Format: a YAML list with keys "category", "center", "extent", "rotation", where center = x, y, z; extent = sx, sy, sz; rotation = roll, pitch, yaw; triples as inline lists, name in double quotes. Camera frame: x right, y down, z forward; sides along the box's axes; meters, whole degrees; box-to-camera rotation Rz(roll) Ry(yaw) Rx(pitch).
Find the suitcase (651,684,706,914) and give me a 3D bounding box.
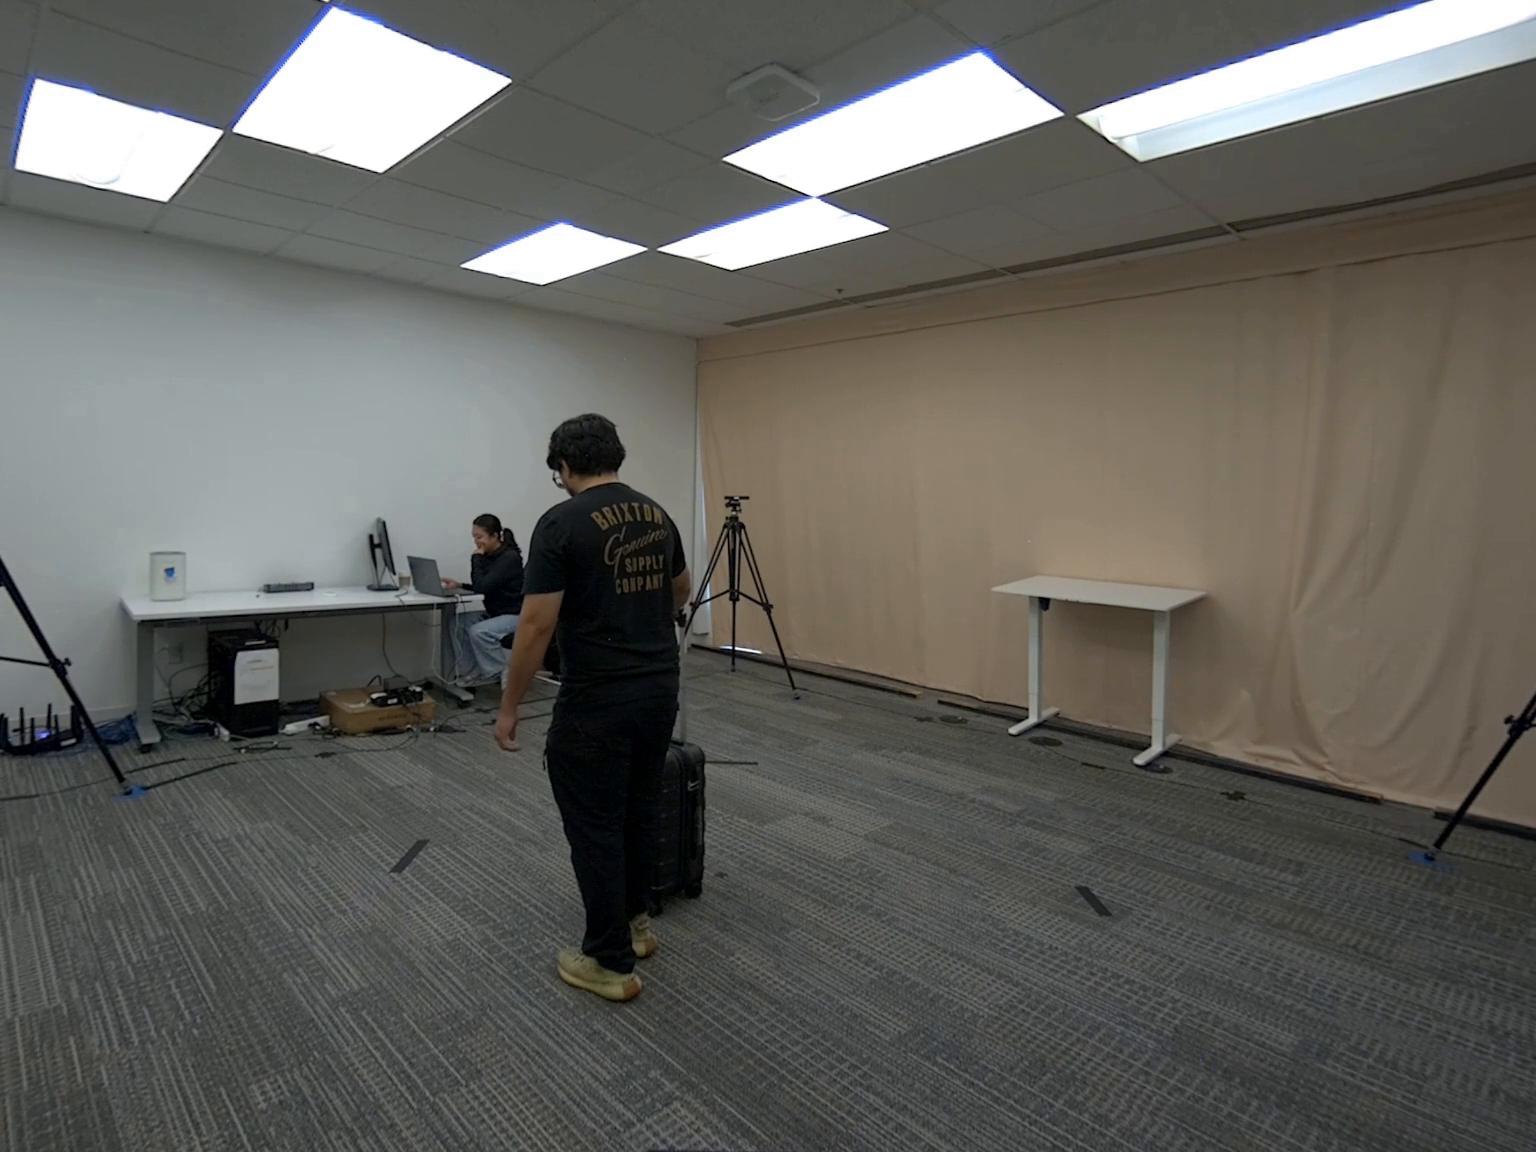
- category: "suitcase"
  center: [-0.420, 0.639, 2.924]
  extent: [0.393, 0.975, 0.251]
  rotation: [4, 6, 39]
